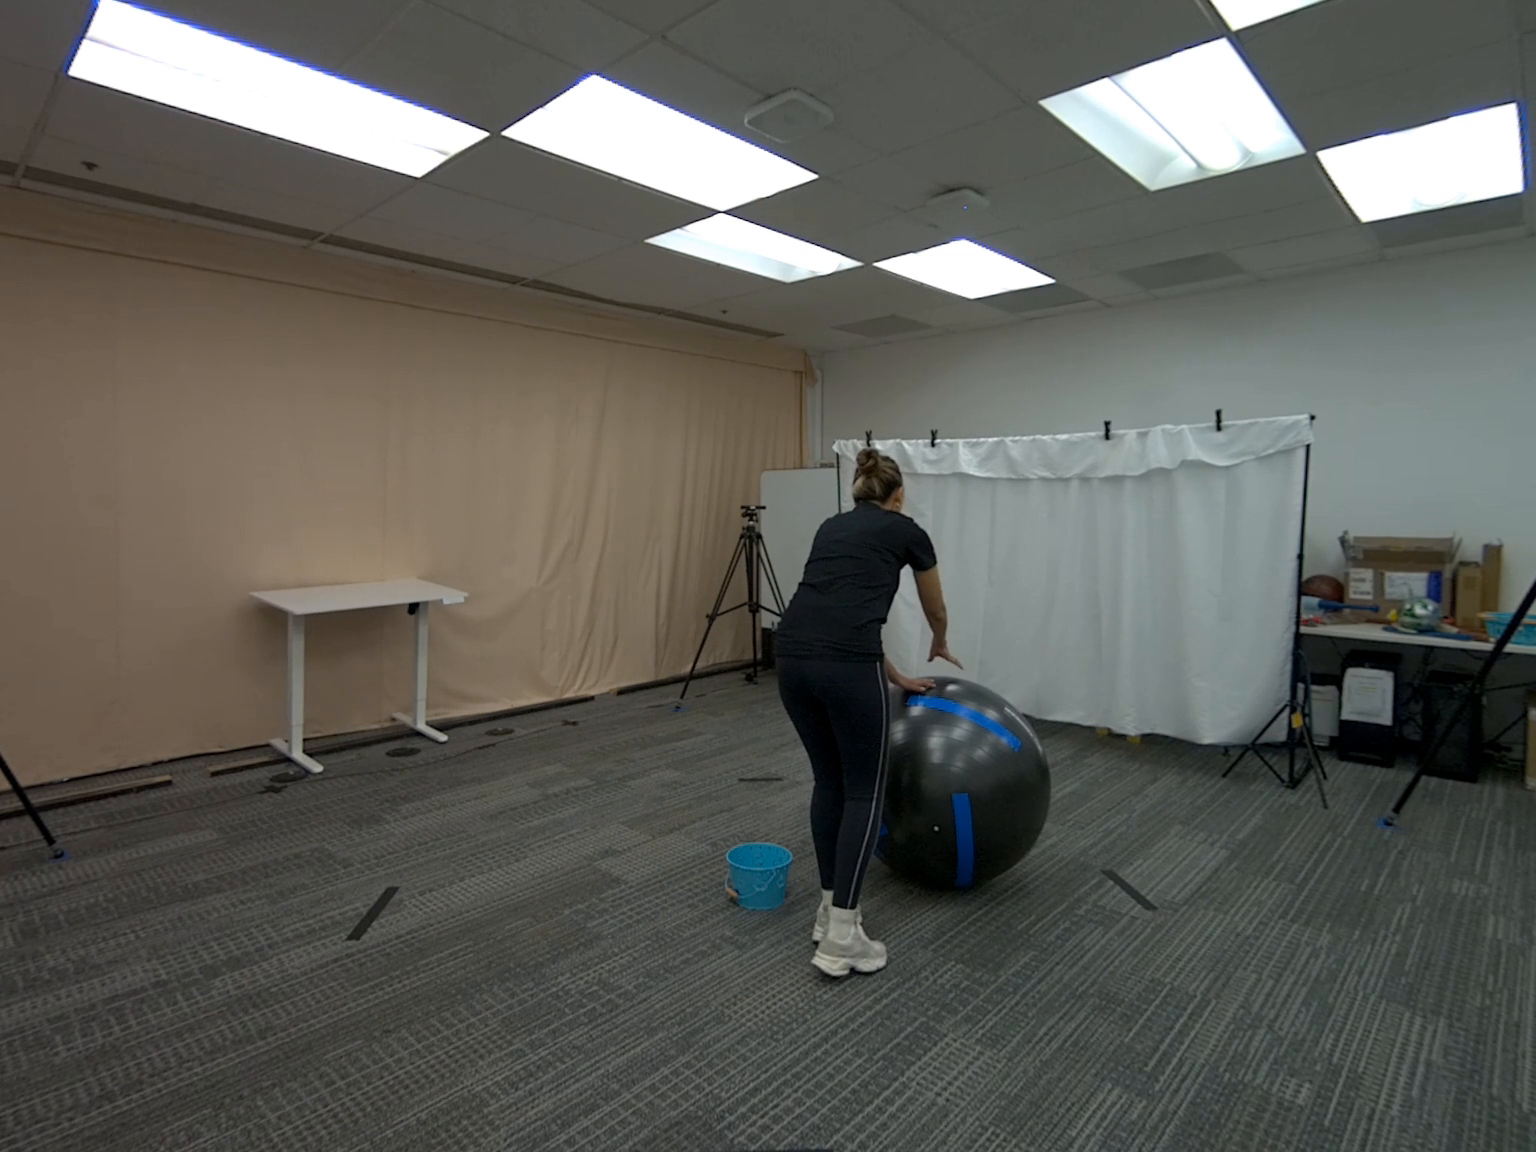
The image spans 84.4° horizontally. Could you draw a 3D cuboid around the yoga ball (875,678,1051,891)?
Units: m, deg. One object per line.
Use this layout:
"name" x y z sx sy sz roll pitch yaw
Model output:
"yoga ball" 0.660 0.763 3.157 0.757 0.756 0.760 0 4 -2
